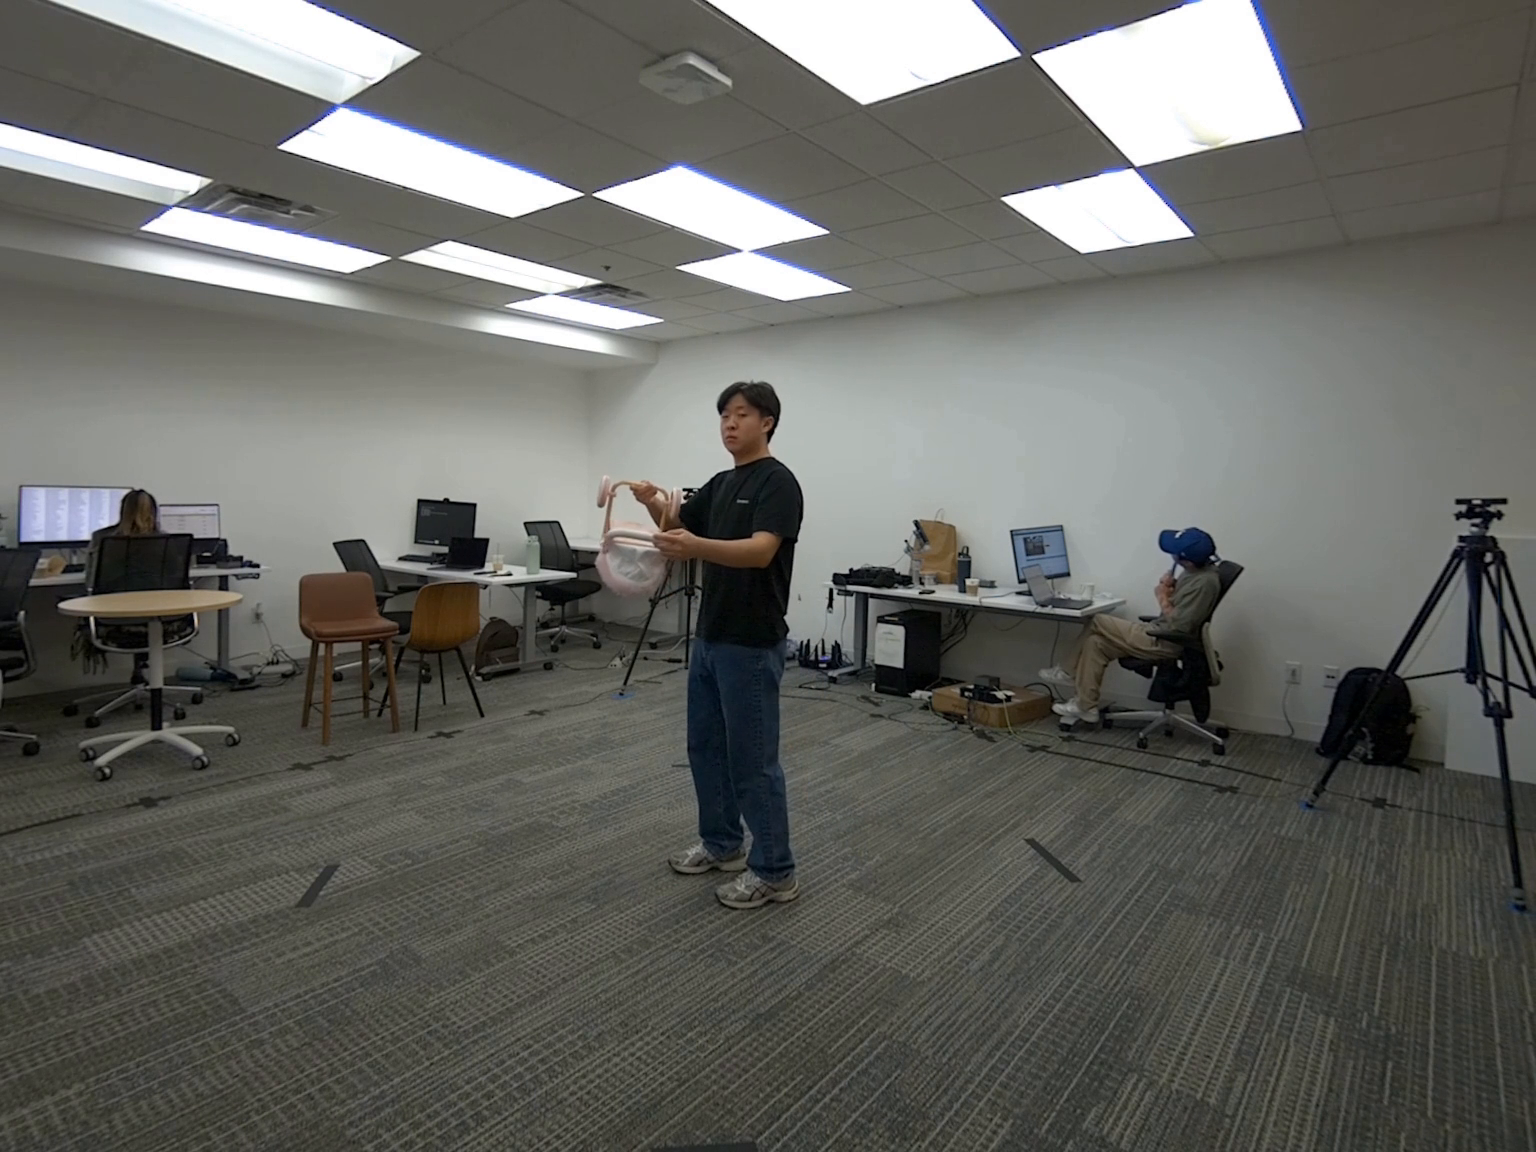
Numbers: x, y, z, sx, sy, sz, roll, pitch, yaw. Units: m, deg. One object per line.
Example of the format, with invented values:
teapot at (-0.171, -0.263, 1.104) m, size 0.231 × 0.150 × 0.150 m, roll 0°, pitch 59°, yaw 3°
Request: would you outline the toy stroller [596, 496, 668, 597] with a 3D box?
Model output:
toy stroller at (-0.456, -0.102, 2.811) m, size 0.276 × 0.337 × 0.551 m, roll 13°, pitch 26°, yaw -16°
